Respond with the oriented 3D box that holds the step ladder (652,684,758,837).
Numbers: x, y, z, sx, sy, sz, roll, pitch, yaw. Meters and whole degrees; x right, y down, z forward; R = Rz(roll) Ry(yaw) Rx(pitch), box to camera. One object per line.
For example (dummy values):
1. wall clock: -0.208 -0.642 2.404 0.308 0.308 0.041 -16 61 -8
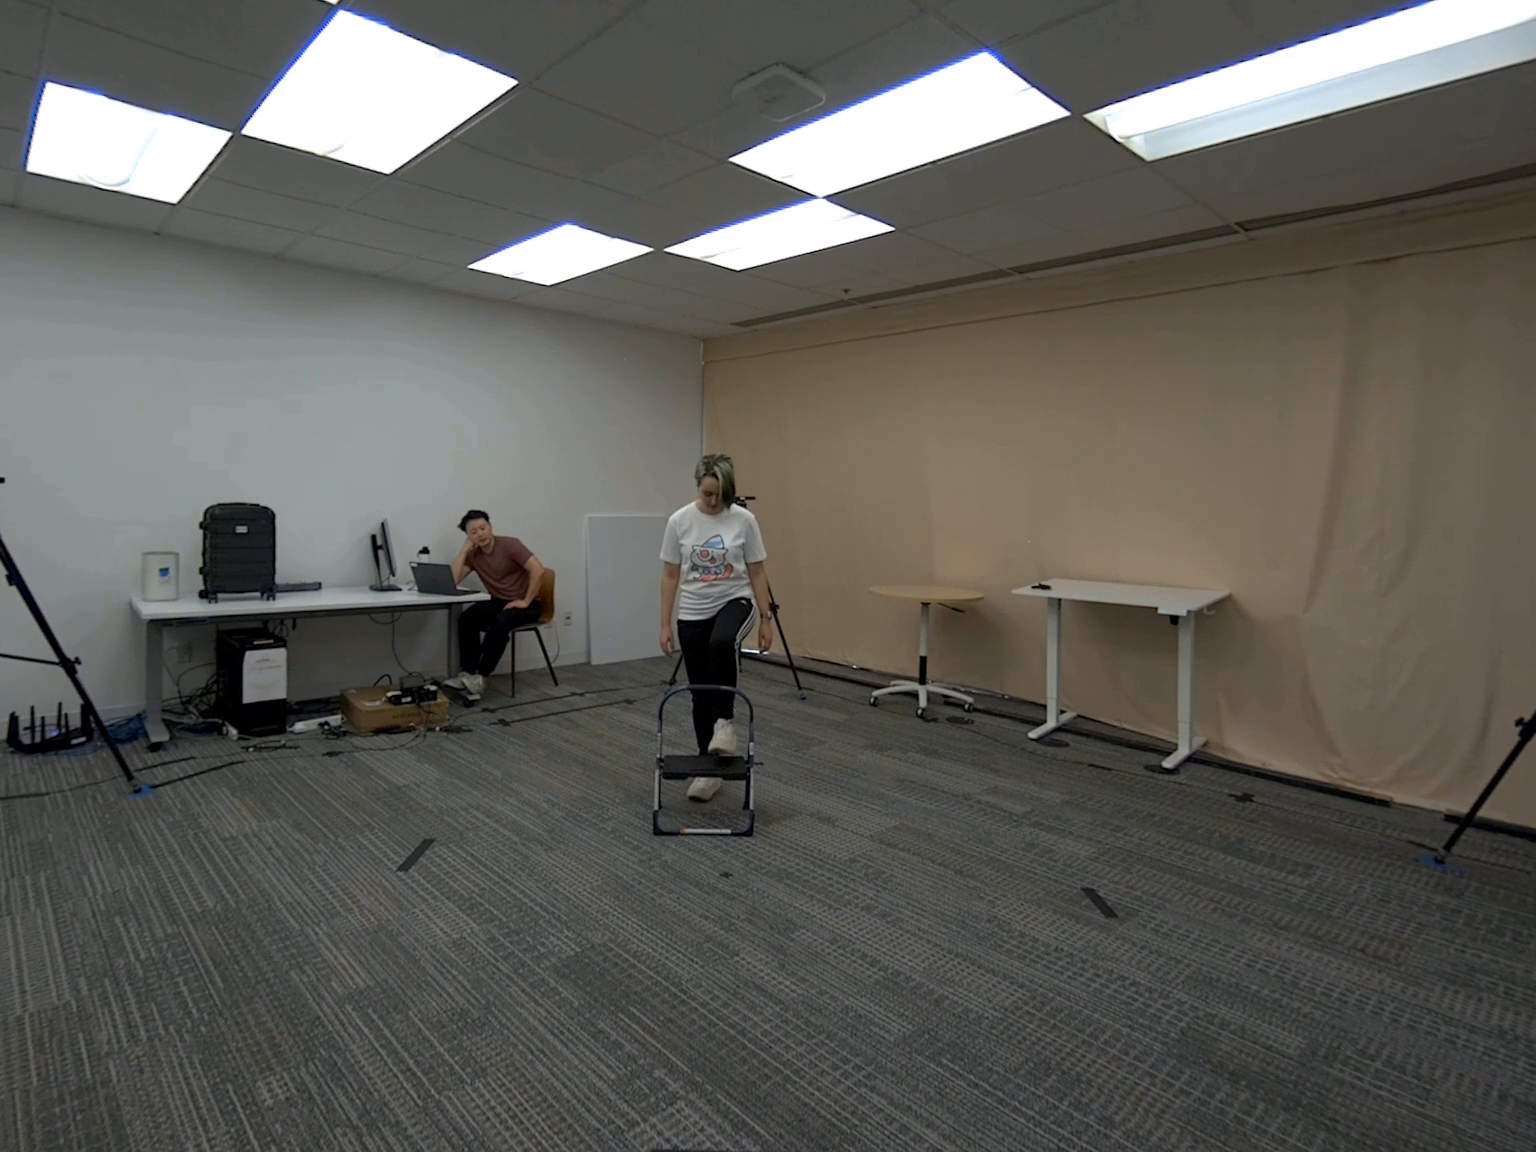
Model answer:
1. step ladder: -0.281 0.757 3.615 0.429 0.605 0.351 1 3 -4
